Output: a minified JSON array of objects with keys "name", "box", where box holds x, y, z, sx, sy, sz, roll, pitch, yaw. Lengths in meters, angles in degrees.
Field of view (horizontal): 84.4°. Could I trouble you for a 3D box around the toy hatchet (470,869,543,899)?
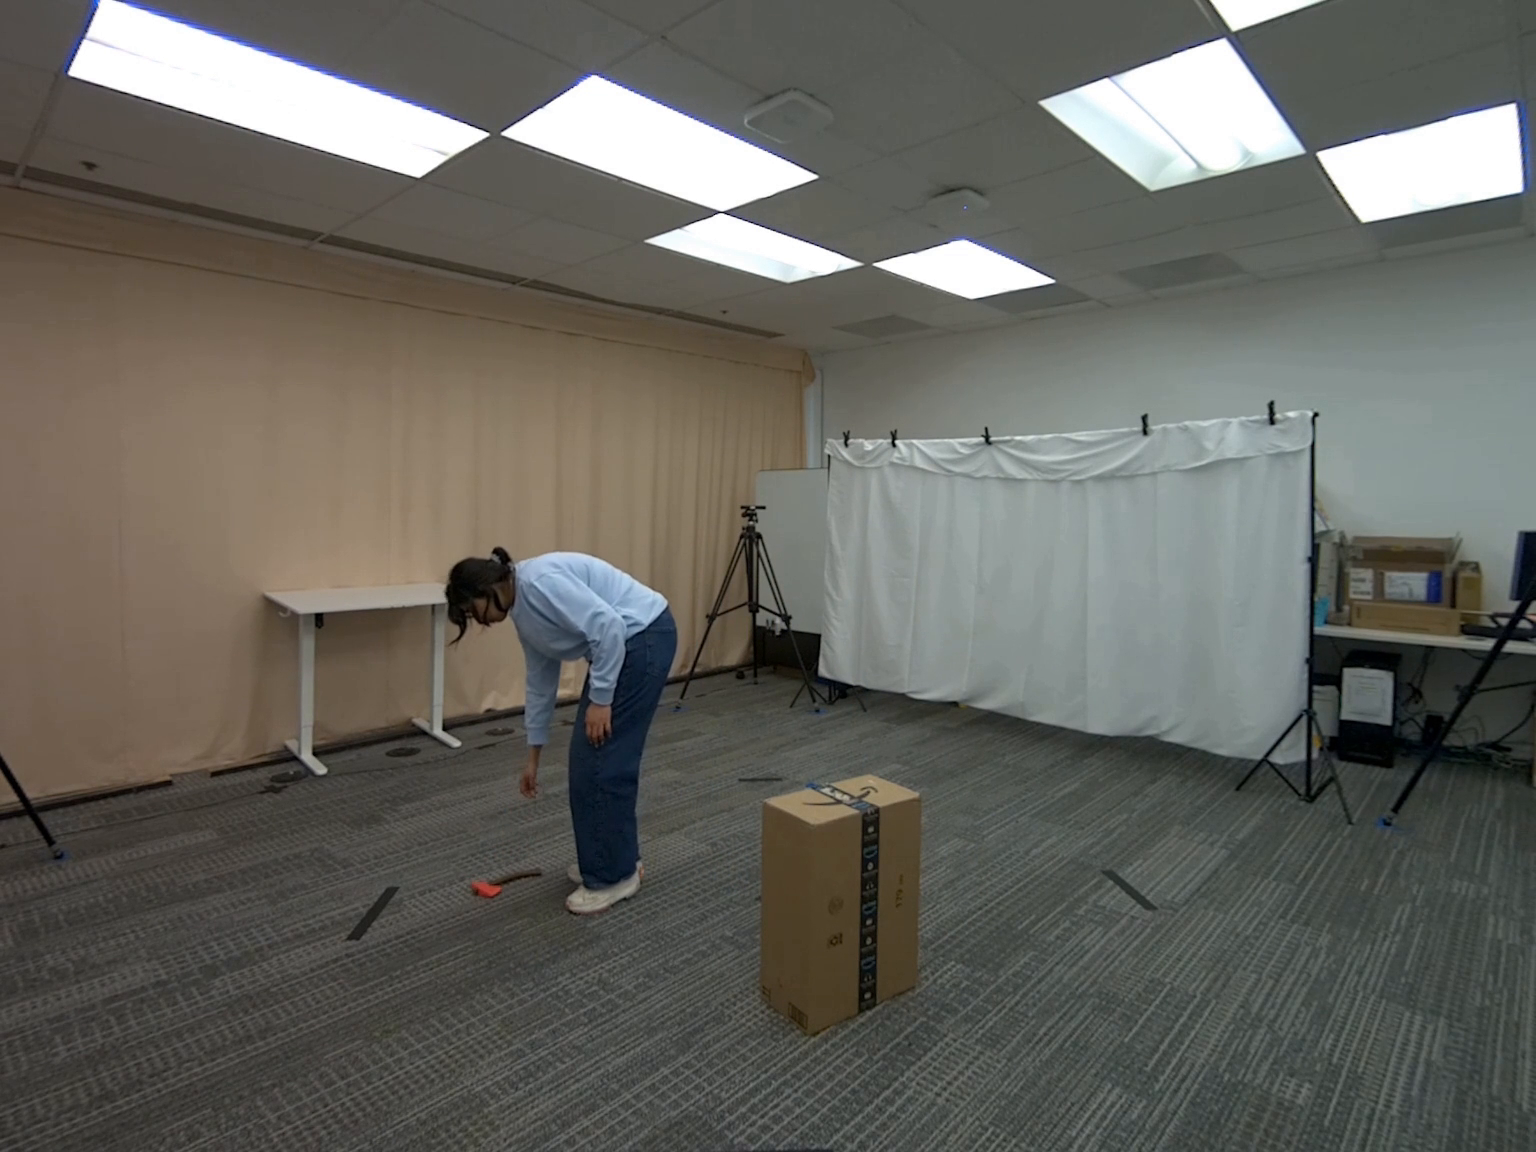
[{"name":"toy hatchet","box":[-0.956,1.139,3.097,0.263,0.029,0.135,-1,4,-31]}]
